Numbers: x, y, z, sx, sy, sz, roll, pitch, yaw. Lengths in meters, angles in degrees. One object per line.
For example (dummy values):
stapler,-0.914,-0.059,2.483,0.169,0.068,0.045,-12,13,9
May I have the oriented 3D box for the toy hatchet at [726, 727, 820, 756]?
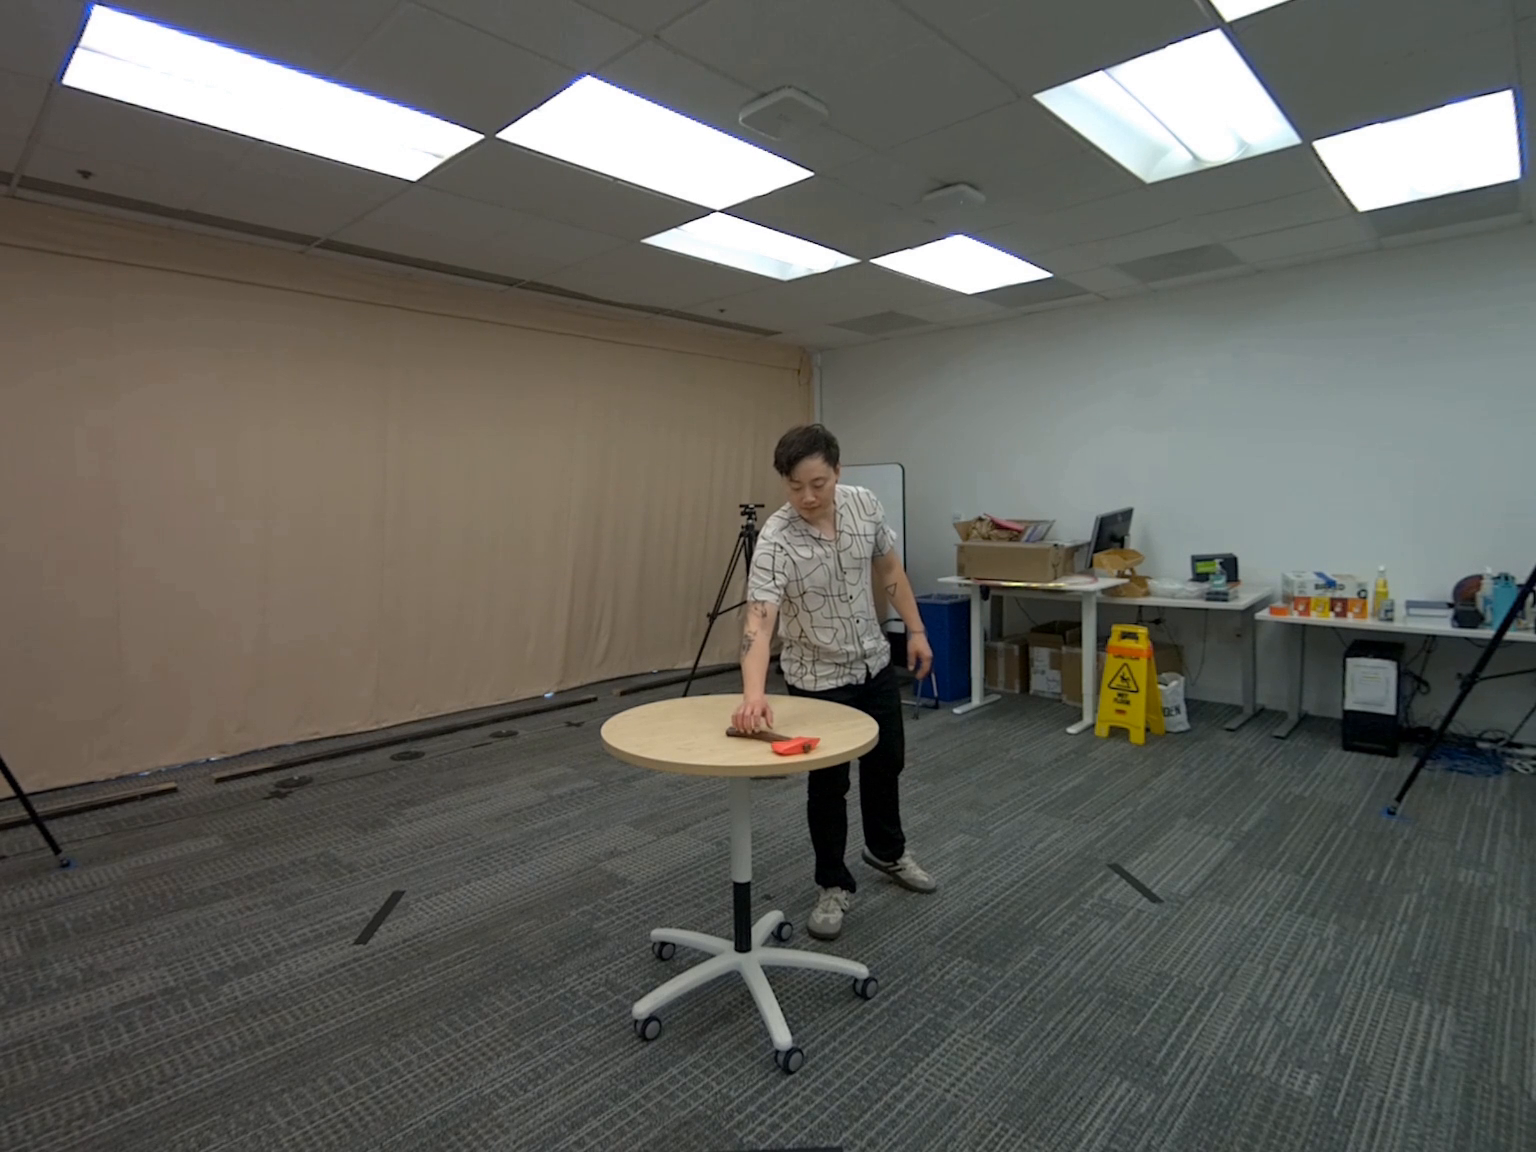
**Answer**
toy hatchet,-0.008,0.419,2.126,0.278,0.029,0.127,0,5,32
